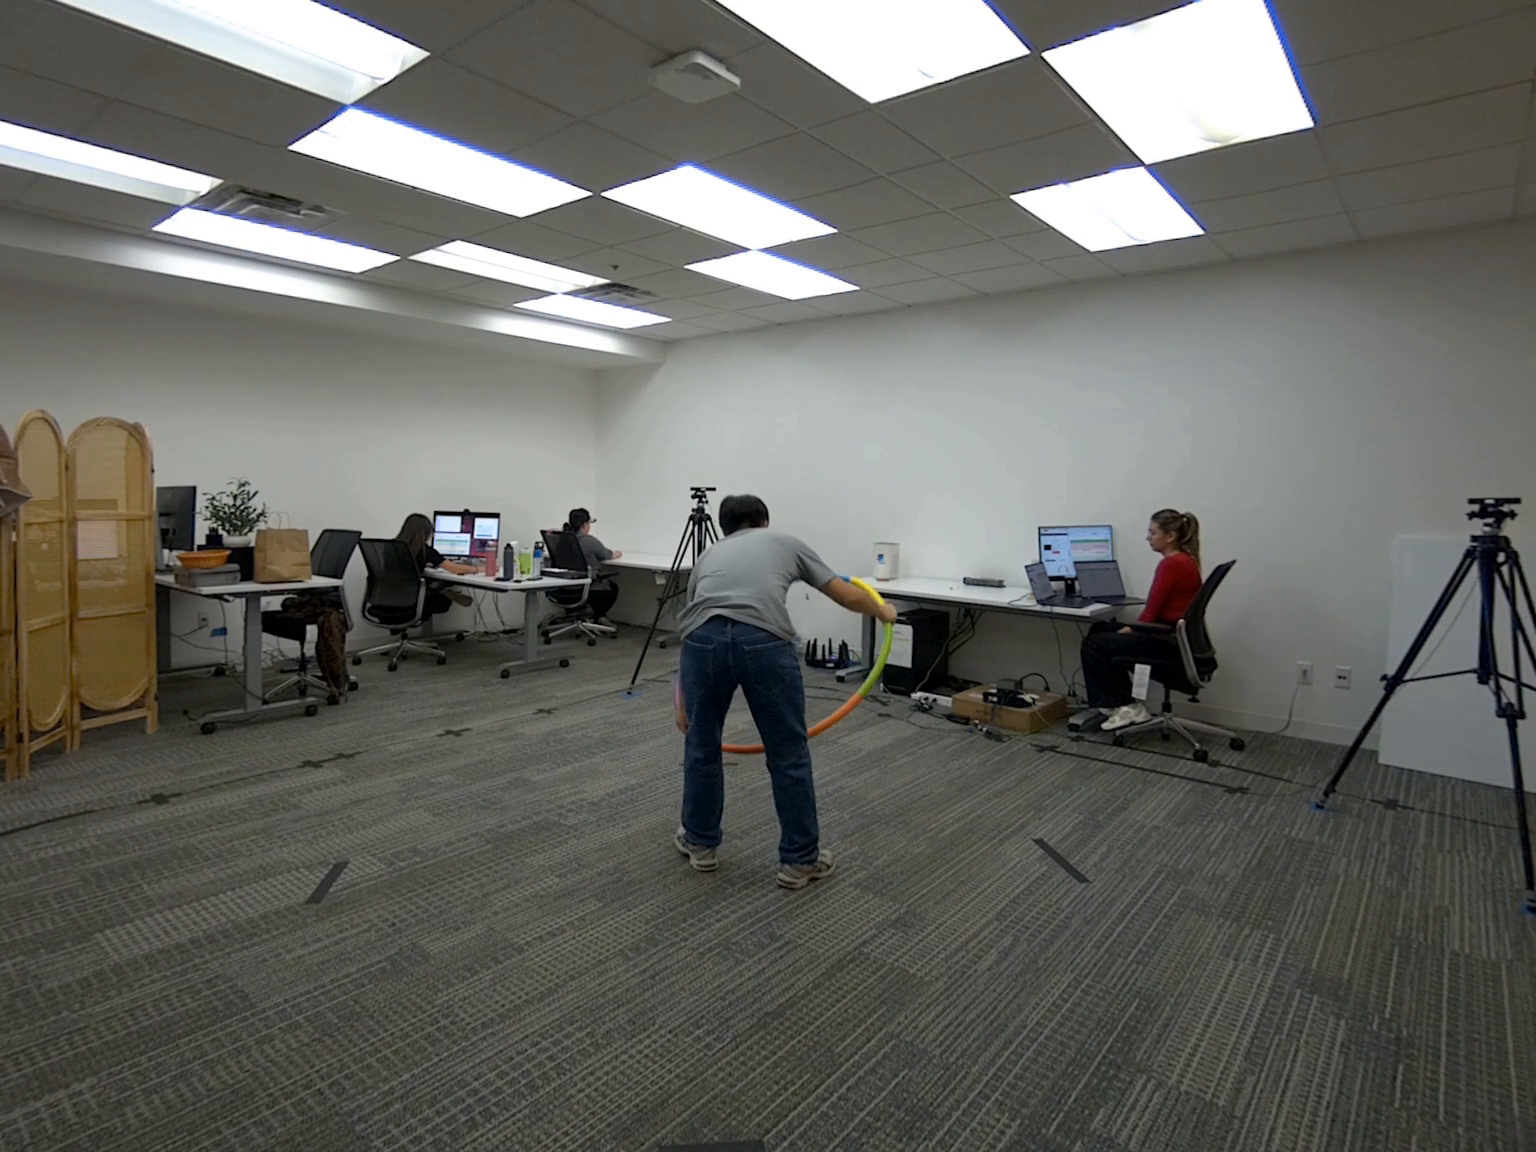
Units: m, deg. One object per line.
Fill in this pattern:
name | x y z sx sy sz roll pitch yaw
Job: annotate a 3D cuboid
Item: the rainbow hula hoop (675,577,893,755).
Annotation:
rainbow hula hoop | 0.041 0.337 3.554 0.987 0.034 1.006 -21 35 13
